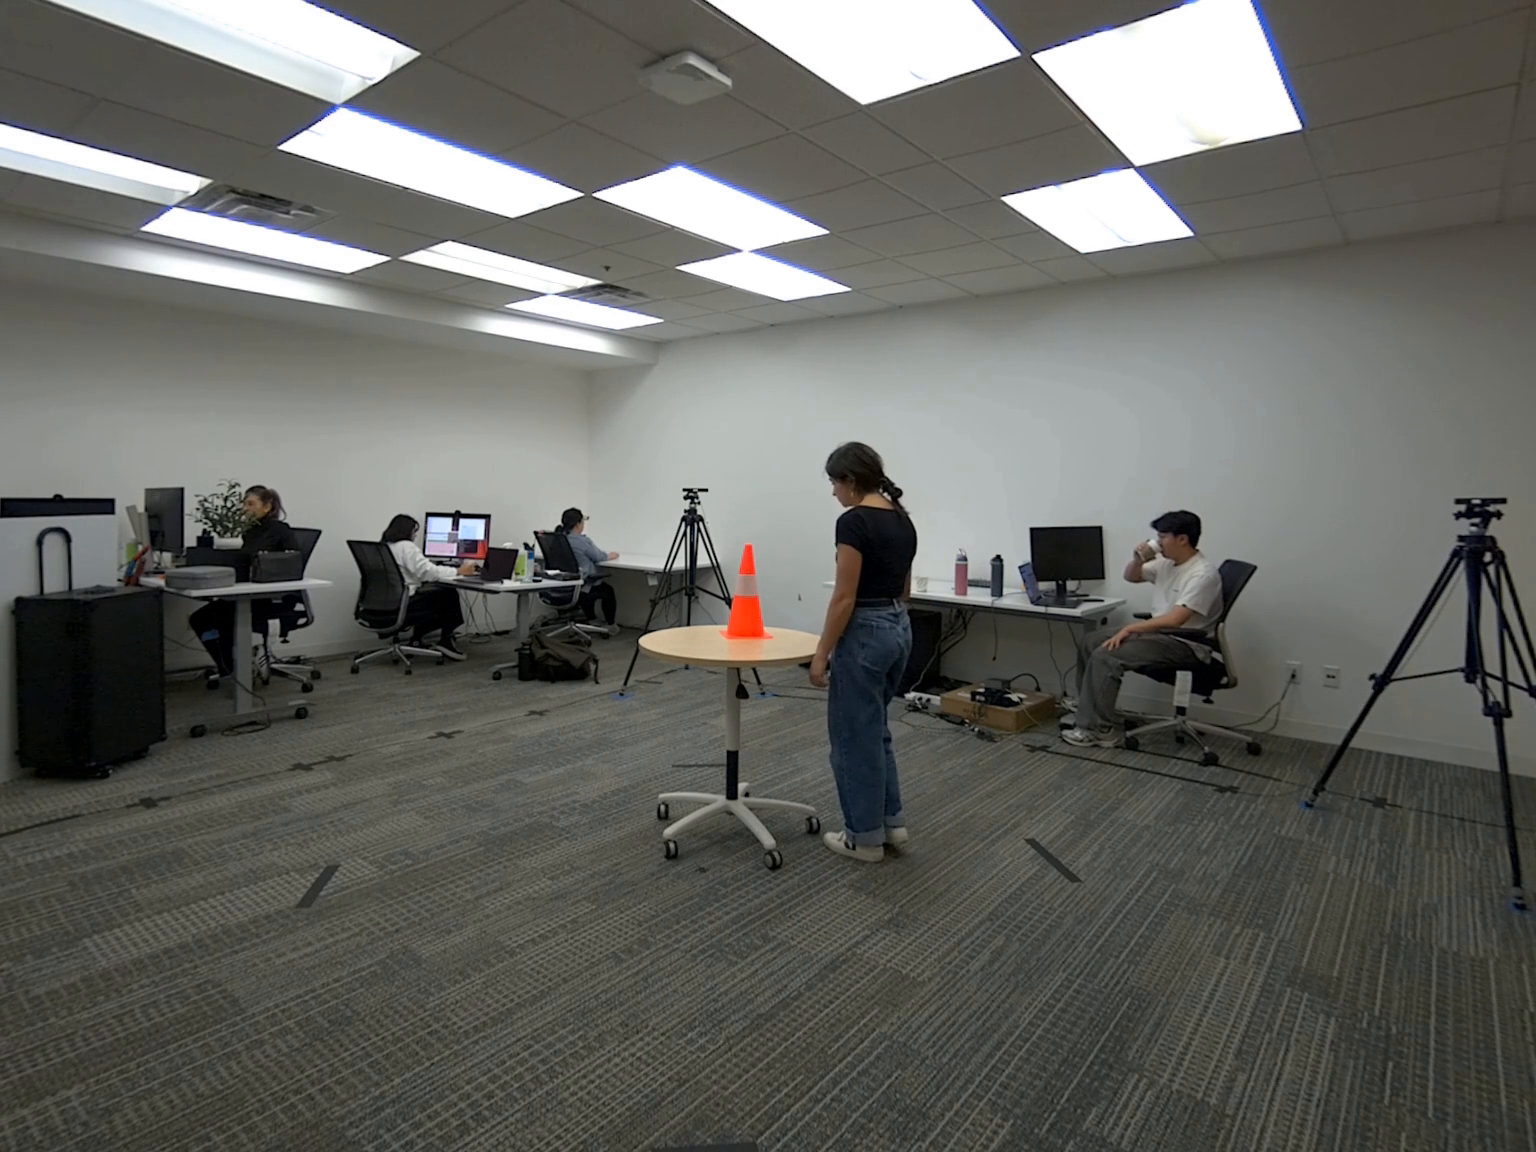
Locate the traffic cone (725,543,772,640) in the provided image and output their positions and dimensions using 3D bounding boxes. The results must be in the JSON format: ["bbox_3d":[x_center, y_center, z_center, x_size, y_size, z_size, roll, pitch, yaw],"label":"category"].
[{"bbox_3d":[-0.090,0.052,3.561,0.200,0.382,0.210,-1,6,-18],"label":"traffic cone"}]
